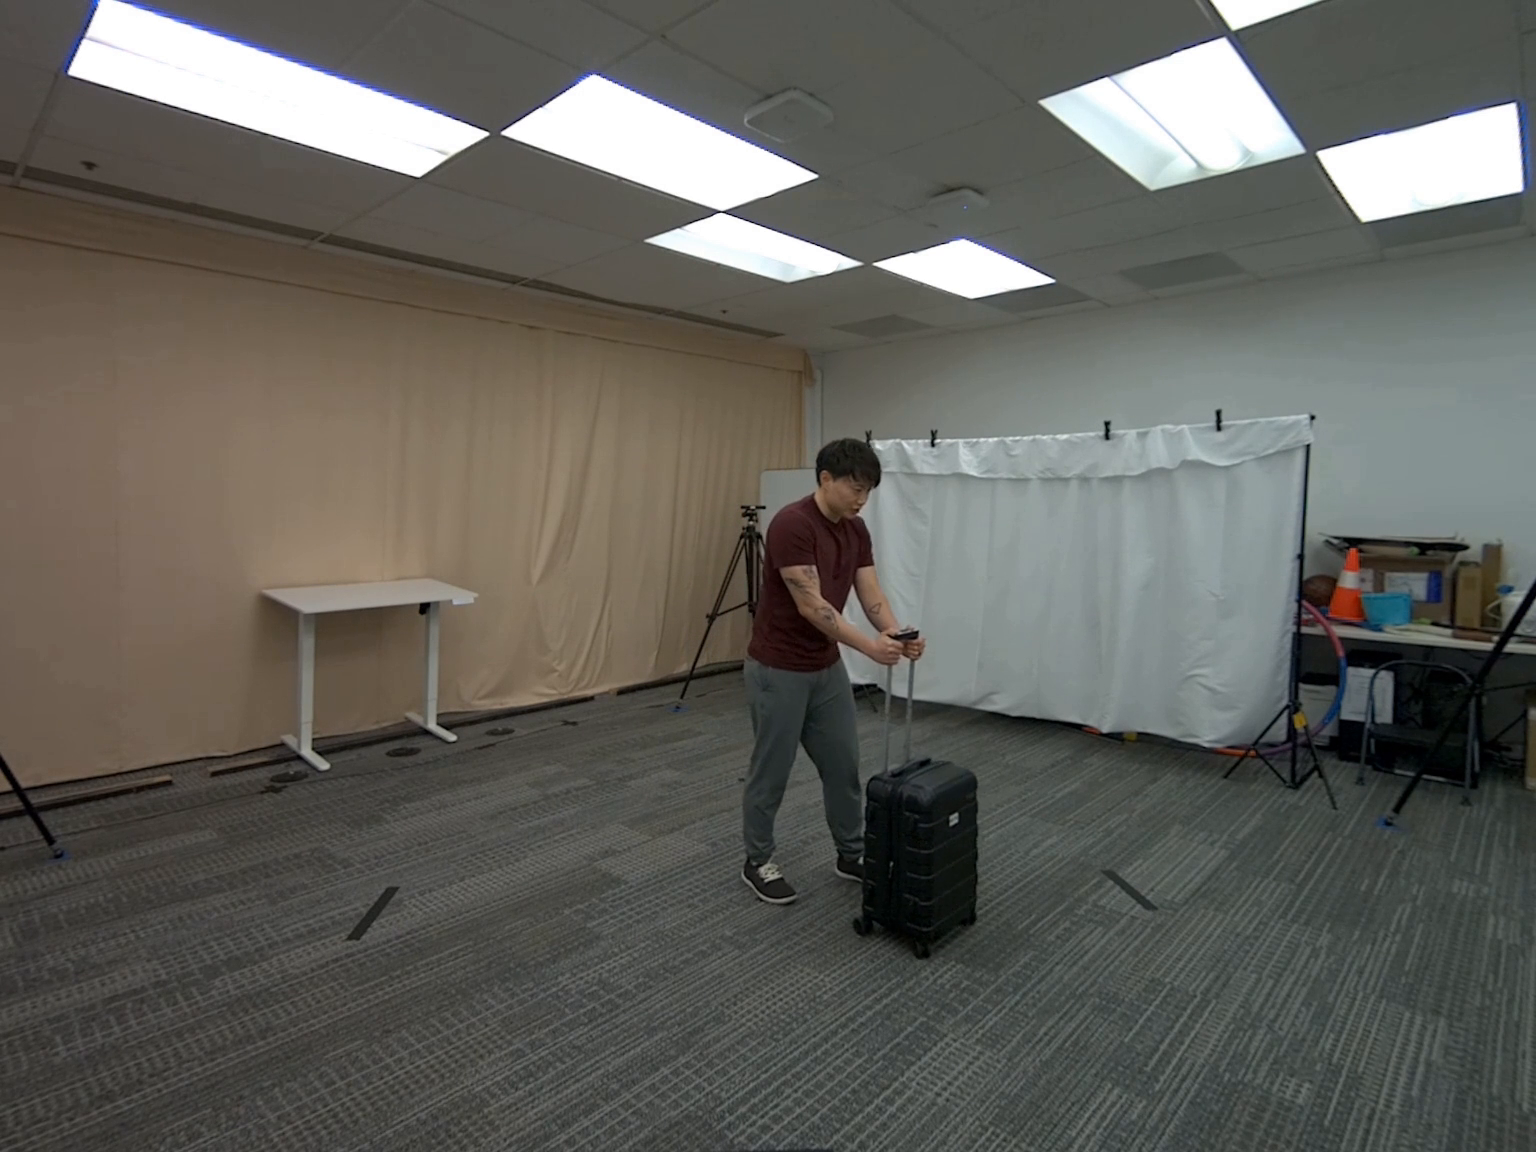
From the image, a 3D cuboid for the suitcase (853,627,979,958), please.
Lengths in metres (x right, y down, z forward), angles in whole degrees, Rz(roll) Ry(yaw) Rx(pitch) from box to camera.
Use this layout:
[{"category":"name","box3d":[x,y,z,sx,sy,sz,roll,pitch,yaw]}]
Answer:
[{"category":"suitcase","box3d":[0.516,0.690,2.716,0.266,0.975,0.372,8,9,43]}]
